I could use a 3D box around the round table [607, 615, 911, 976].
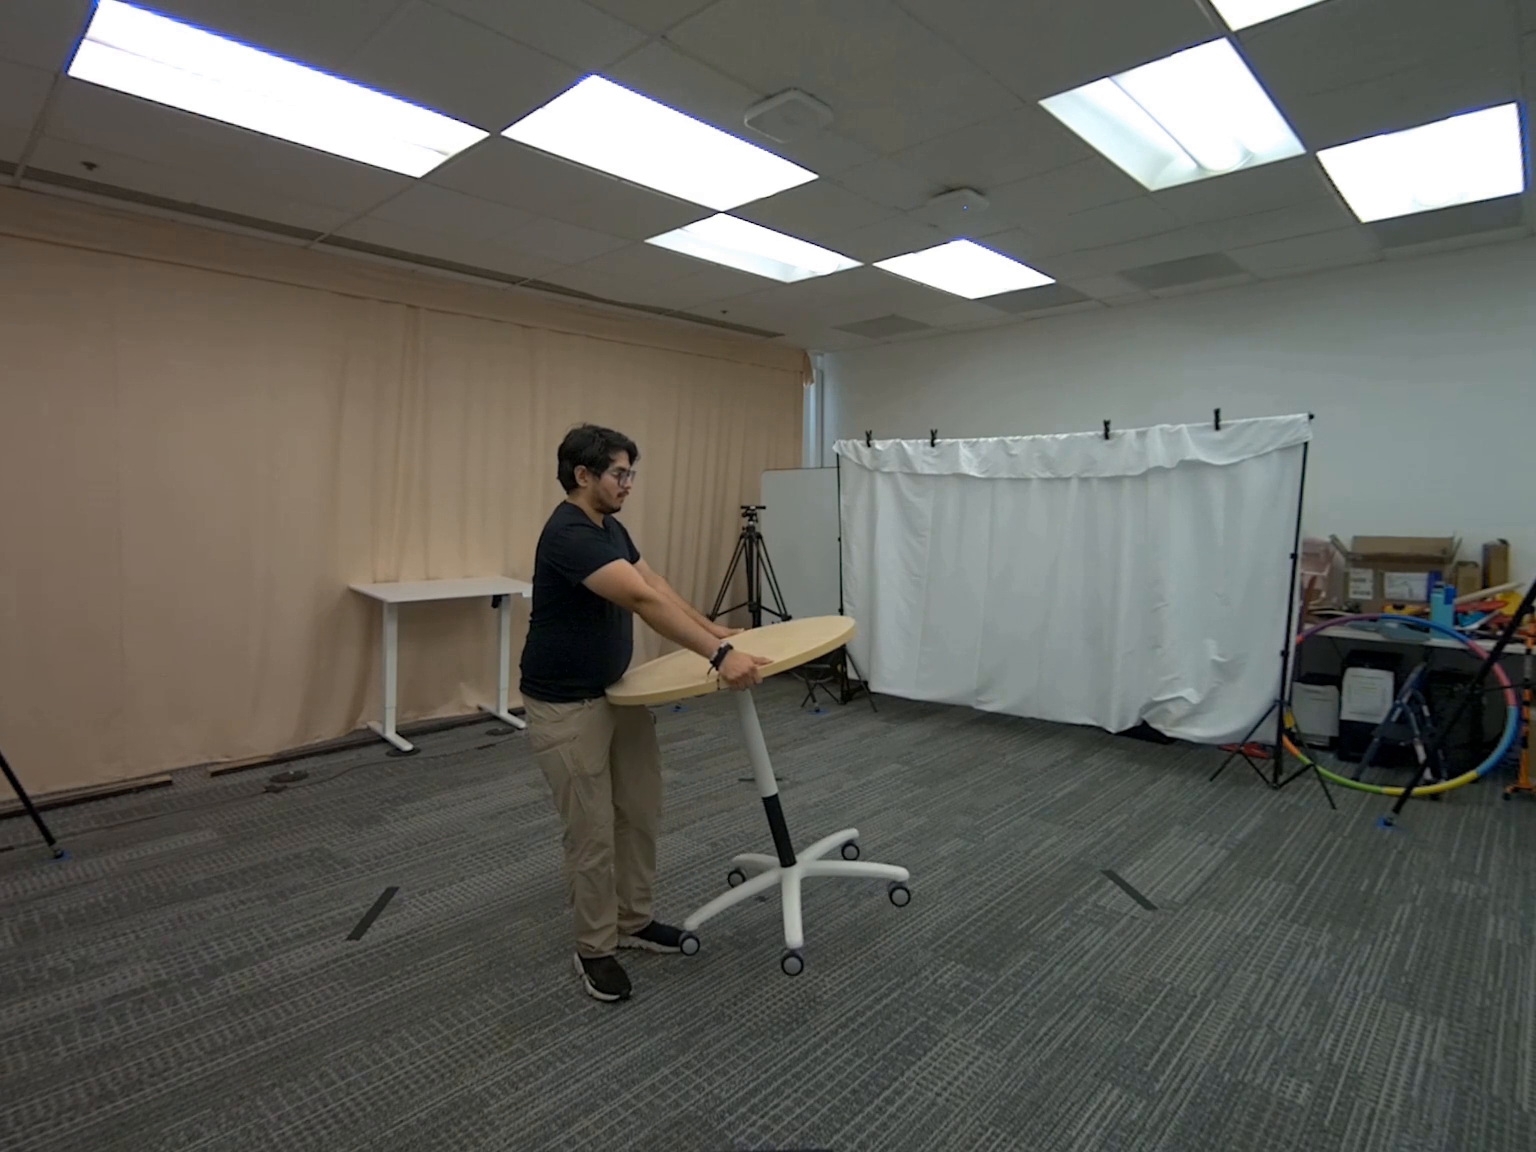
[{"bbox_3d":[-0.002,0.621,2.528,0.785,0.785,0.787,-15,3,-1],"label":"round table"}]
